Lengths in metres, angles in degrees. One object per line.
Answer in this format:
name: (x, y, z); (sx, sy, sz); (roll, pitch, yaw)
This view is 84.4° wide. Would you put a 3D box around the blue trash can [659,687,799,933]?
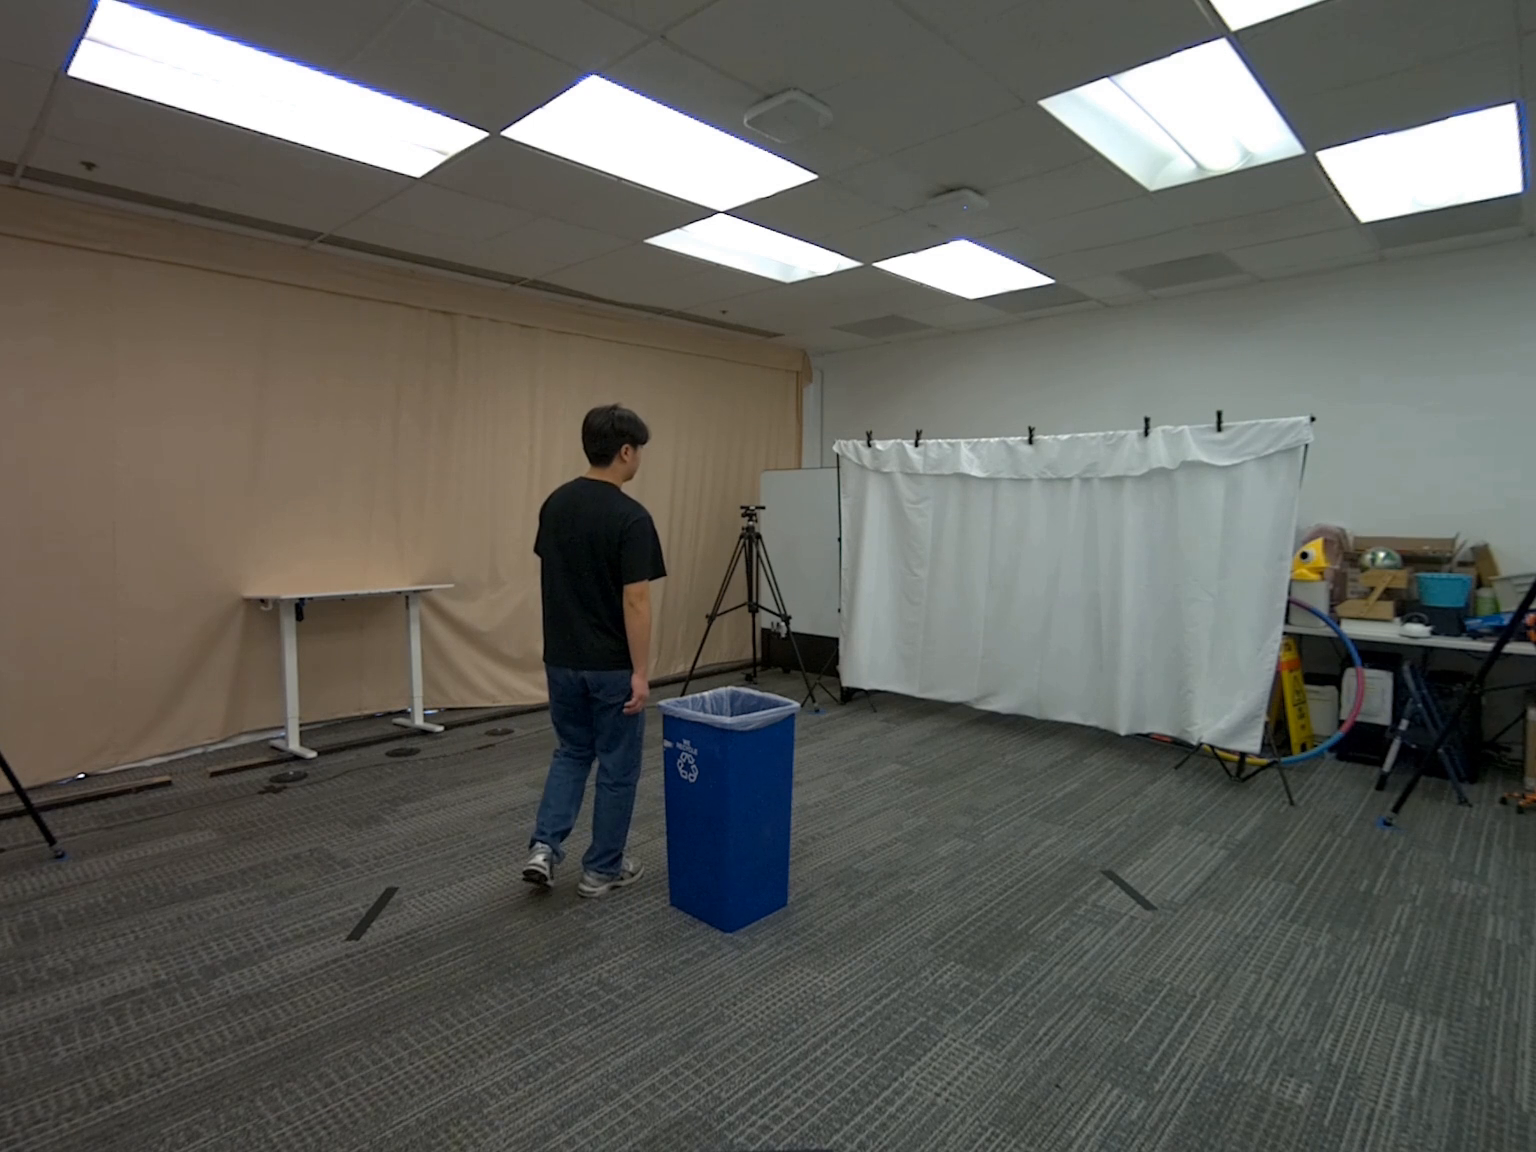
blue trash can: (-0.128, 0.791, 2.918); (0.386, 0.712, 0.366); (3, 4, 44)
